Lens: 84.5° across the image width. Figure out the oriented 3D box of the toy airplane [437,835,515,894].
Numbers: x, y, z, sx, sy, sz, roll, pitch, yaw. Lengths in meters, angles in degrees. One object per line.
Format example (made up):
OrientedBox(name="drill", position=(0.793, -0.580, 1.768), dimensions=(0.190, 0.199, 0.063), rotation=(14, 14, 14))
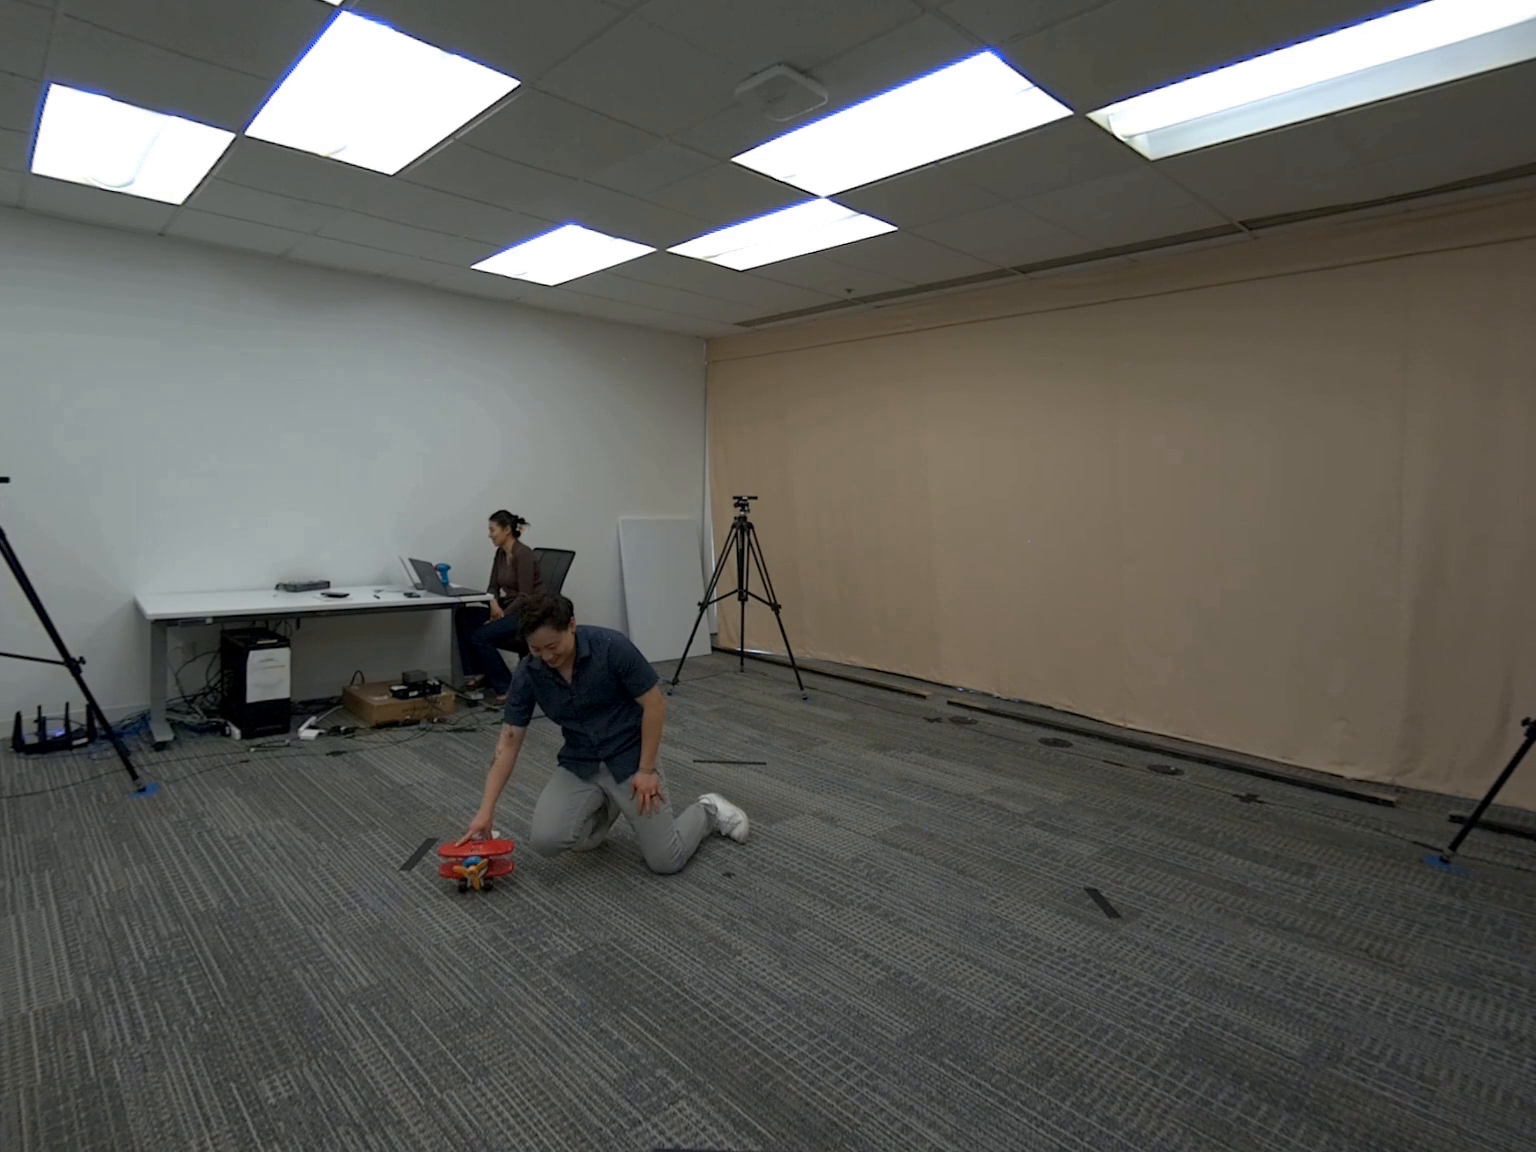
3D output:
OrientedBox(name="toy airplane", position=(-1.057, 0.999, 2.976), dimensions=(0.247, 0.154, 0.267), rotation=(-15, 33, -33))
